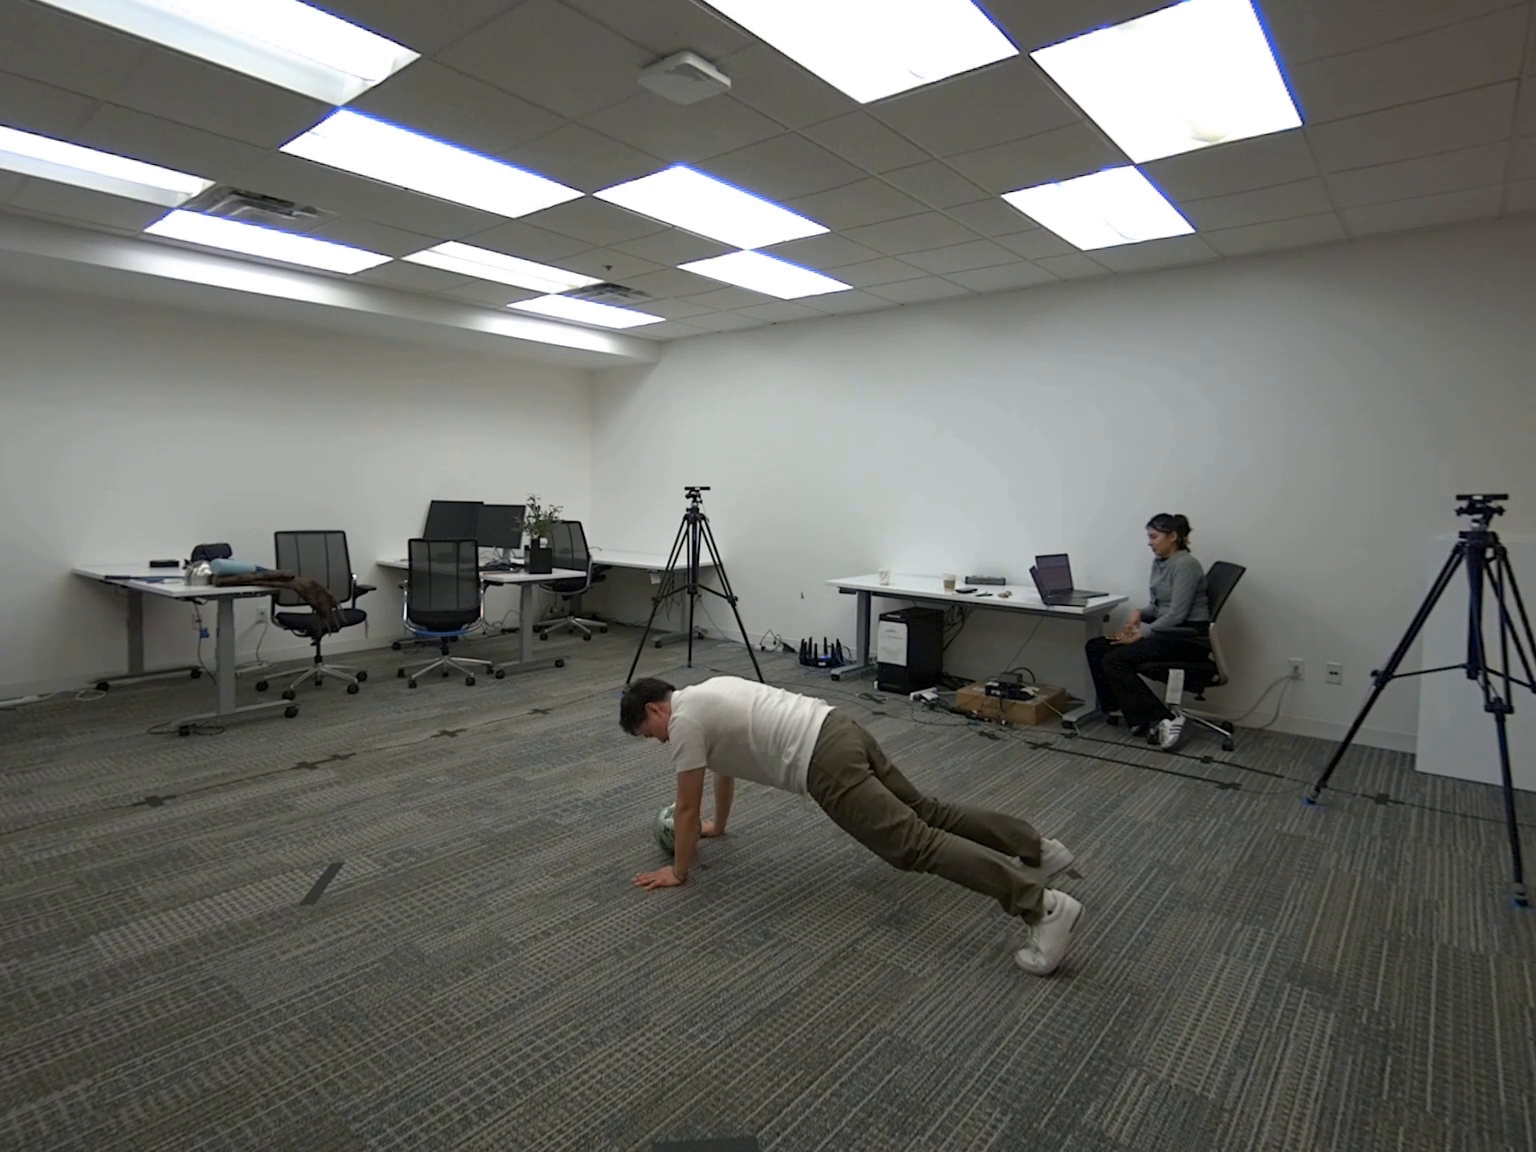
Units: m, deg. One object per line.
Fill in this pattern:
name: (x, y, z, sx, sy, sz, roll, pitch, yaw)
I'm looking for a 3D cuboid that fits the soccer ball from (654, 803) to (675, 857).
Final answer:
soccer ball: (-0.353, 0.957, 3.242, 0.187, 0.187, 0.188, 1, 4, -2)
